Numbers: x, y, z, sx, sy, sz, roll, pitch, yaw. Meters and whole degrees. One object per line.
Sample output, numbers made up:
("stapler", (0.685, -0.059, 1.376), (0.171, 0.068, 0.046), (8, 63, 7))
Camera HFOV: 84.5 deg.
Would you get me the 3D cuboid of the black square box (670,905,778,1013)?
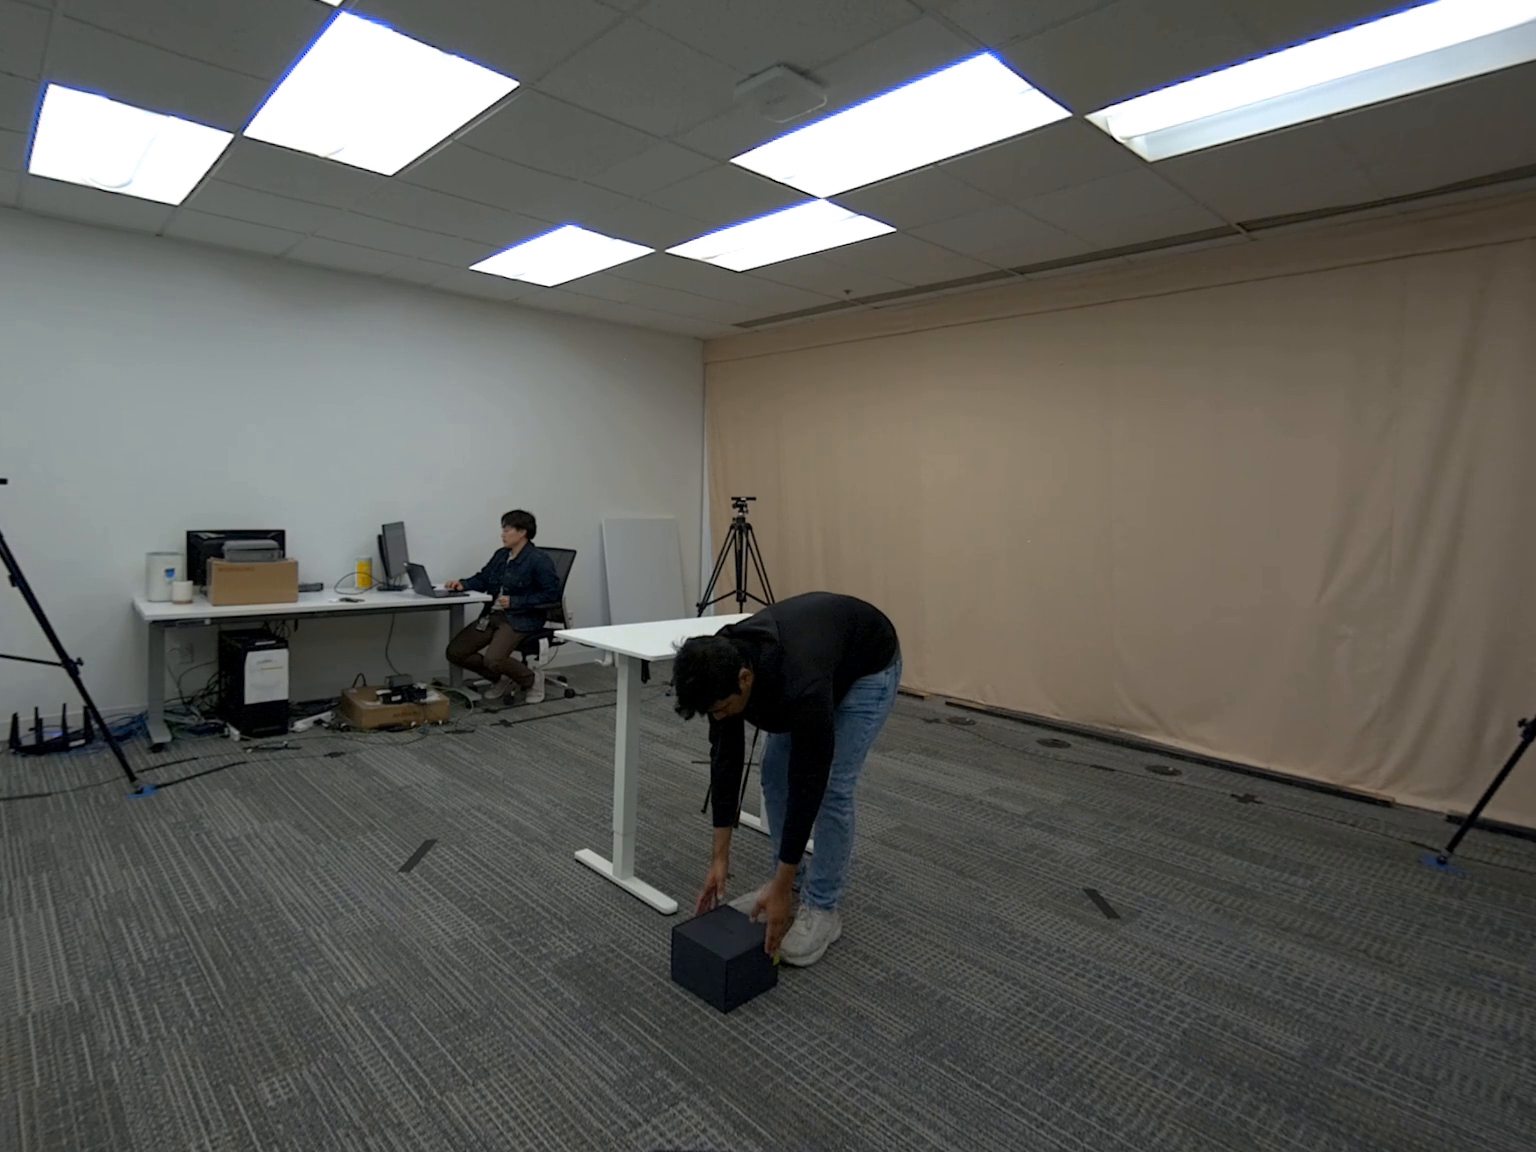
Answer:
("black square box", (-0.126, 1.083, 2.417), (0.234, 0.155, 0.212), (6, 7, 43))
